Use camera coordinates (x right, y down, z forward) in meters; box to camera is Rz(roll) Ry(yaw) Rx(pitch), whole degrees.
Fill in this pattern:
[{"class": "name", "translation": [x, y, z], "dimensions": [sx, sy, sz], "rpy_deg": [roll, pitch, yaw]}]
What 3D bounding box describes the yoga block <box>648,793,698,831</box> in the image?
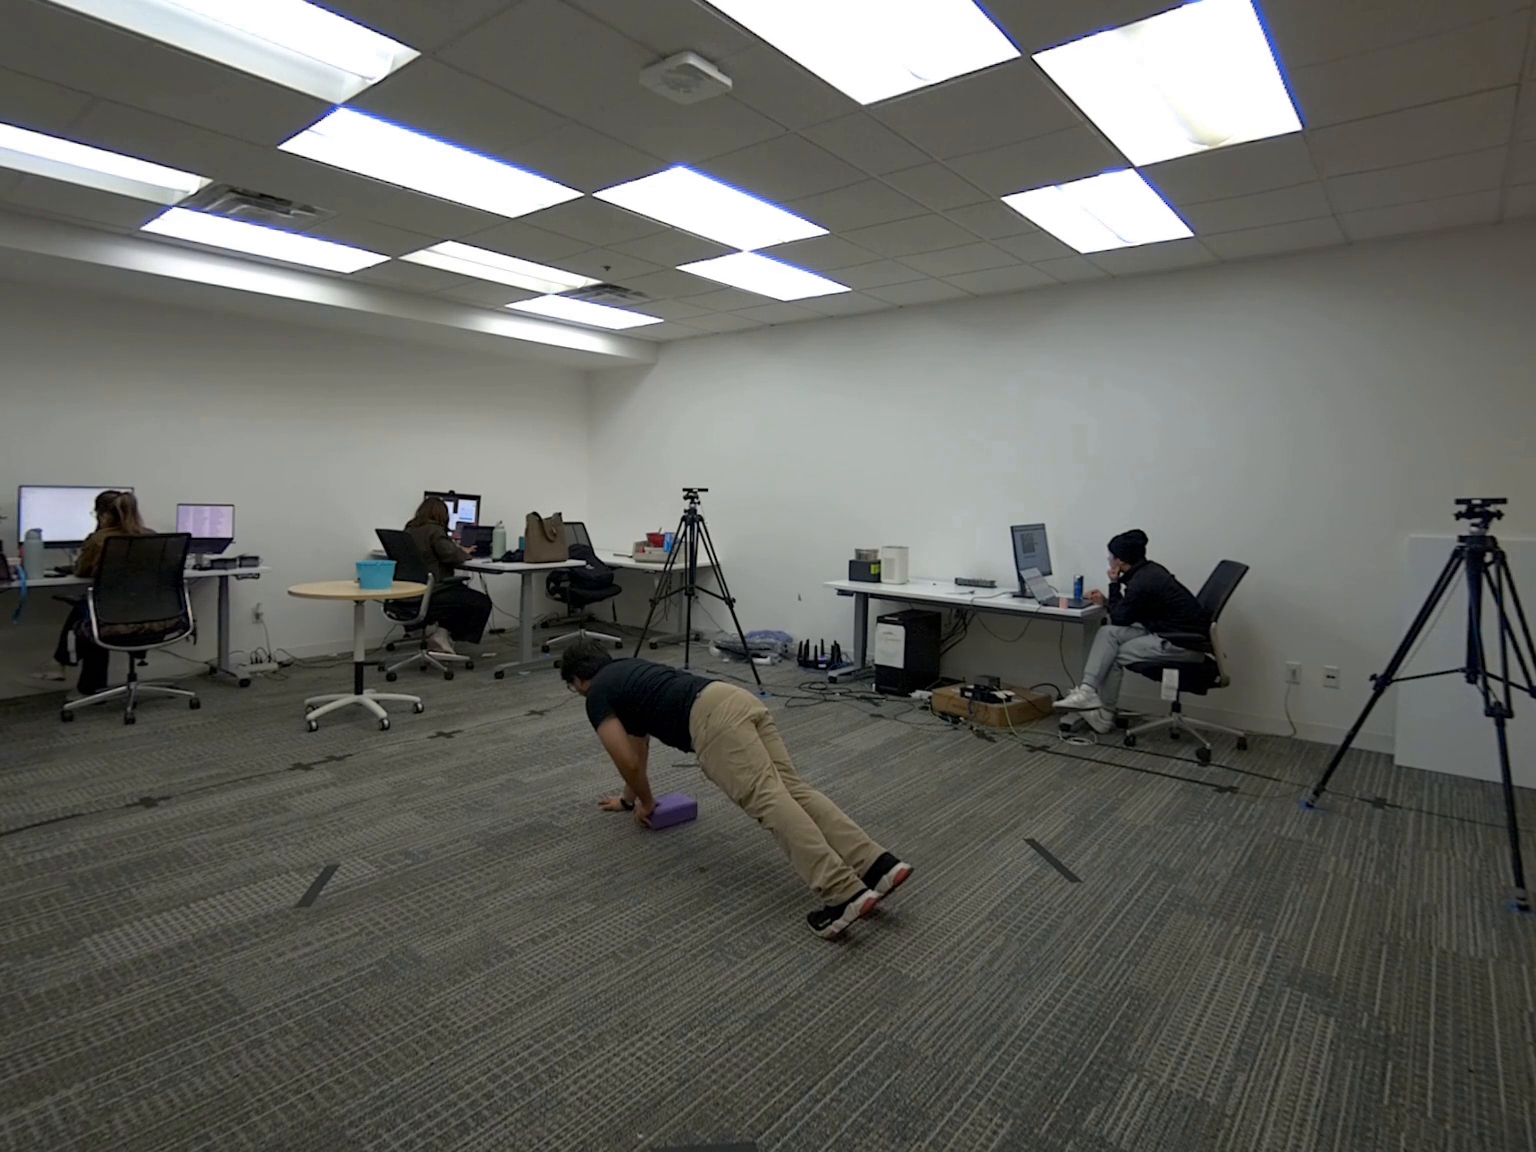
[{"class": "yoga block", "translation": [-0.437, 0.982, 3.573], "dimensions": [0.222, 0.076, 0.154], "rpy_deg": [-4, 6, -43]}]
